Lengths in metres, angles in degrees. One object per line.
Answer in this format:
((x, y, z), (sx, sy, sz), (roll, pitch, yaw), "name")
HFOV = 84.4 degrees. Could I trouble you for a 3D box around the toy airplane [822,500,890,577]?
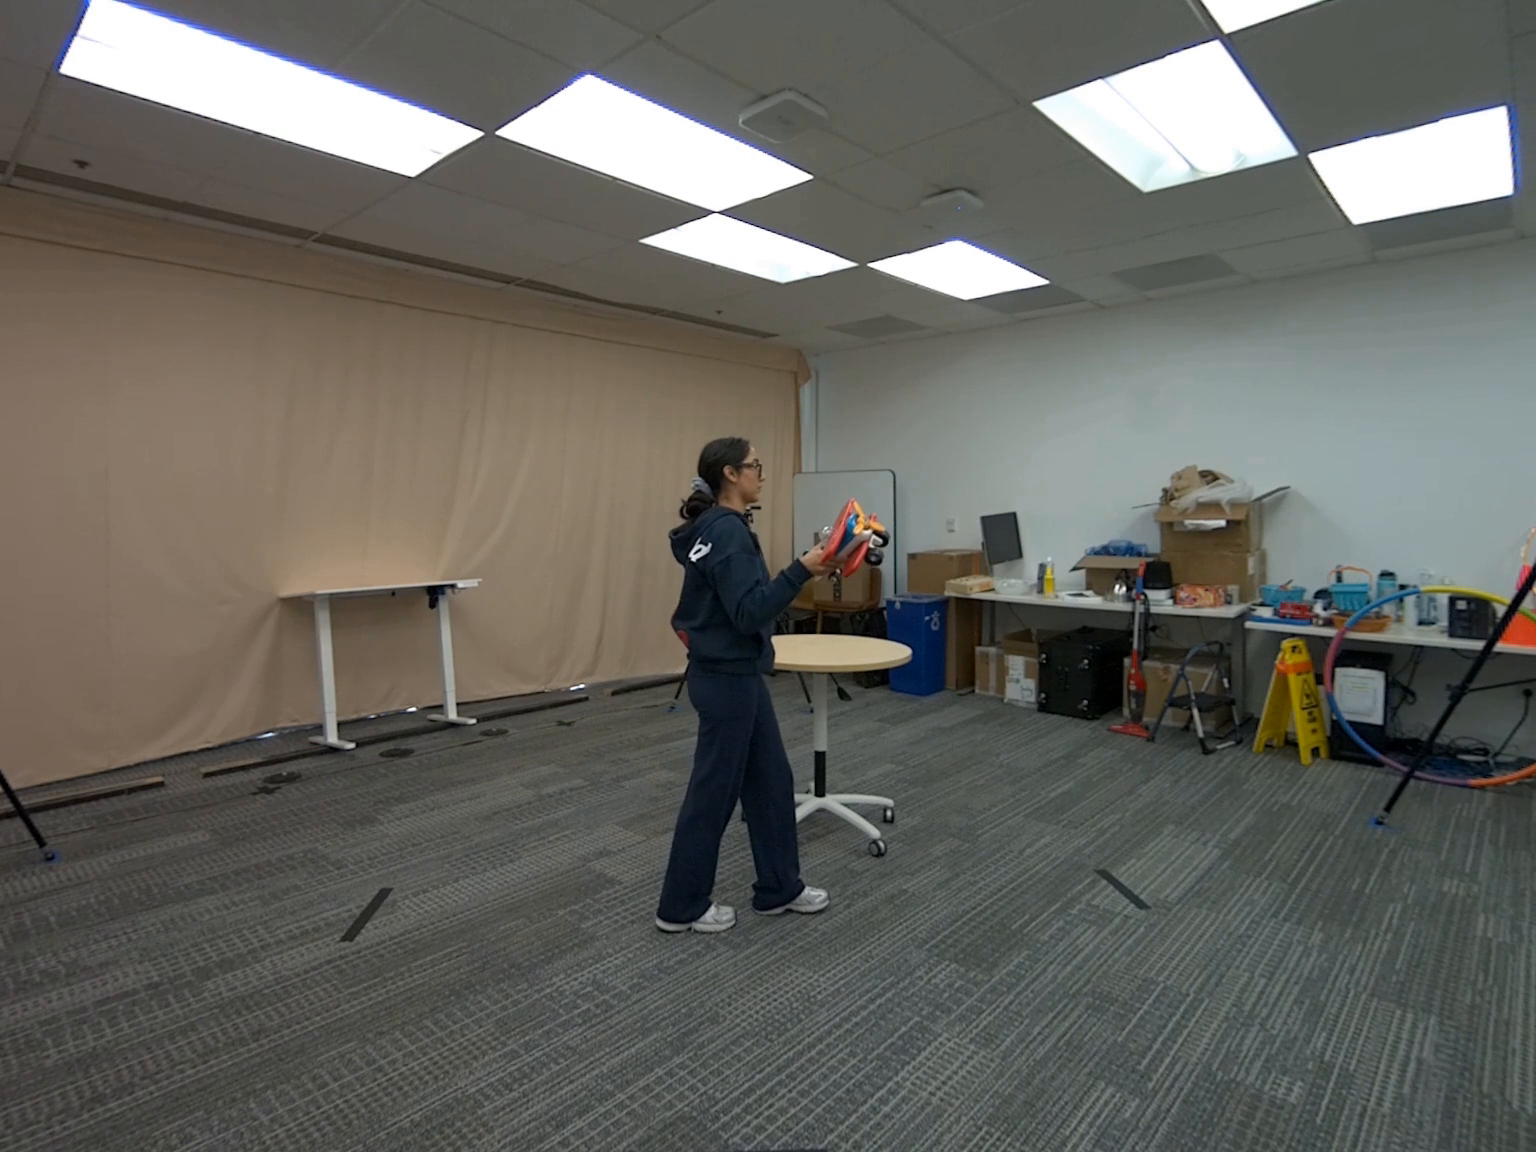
((0.220, -0.076, 2.437), (0.153, 0.260, 0.254), (42, 16, -17), "toy airplane")
